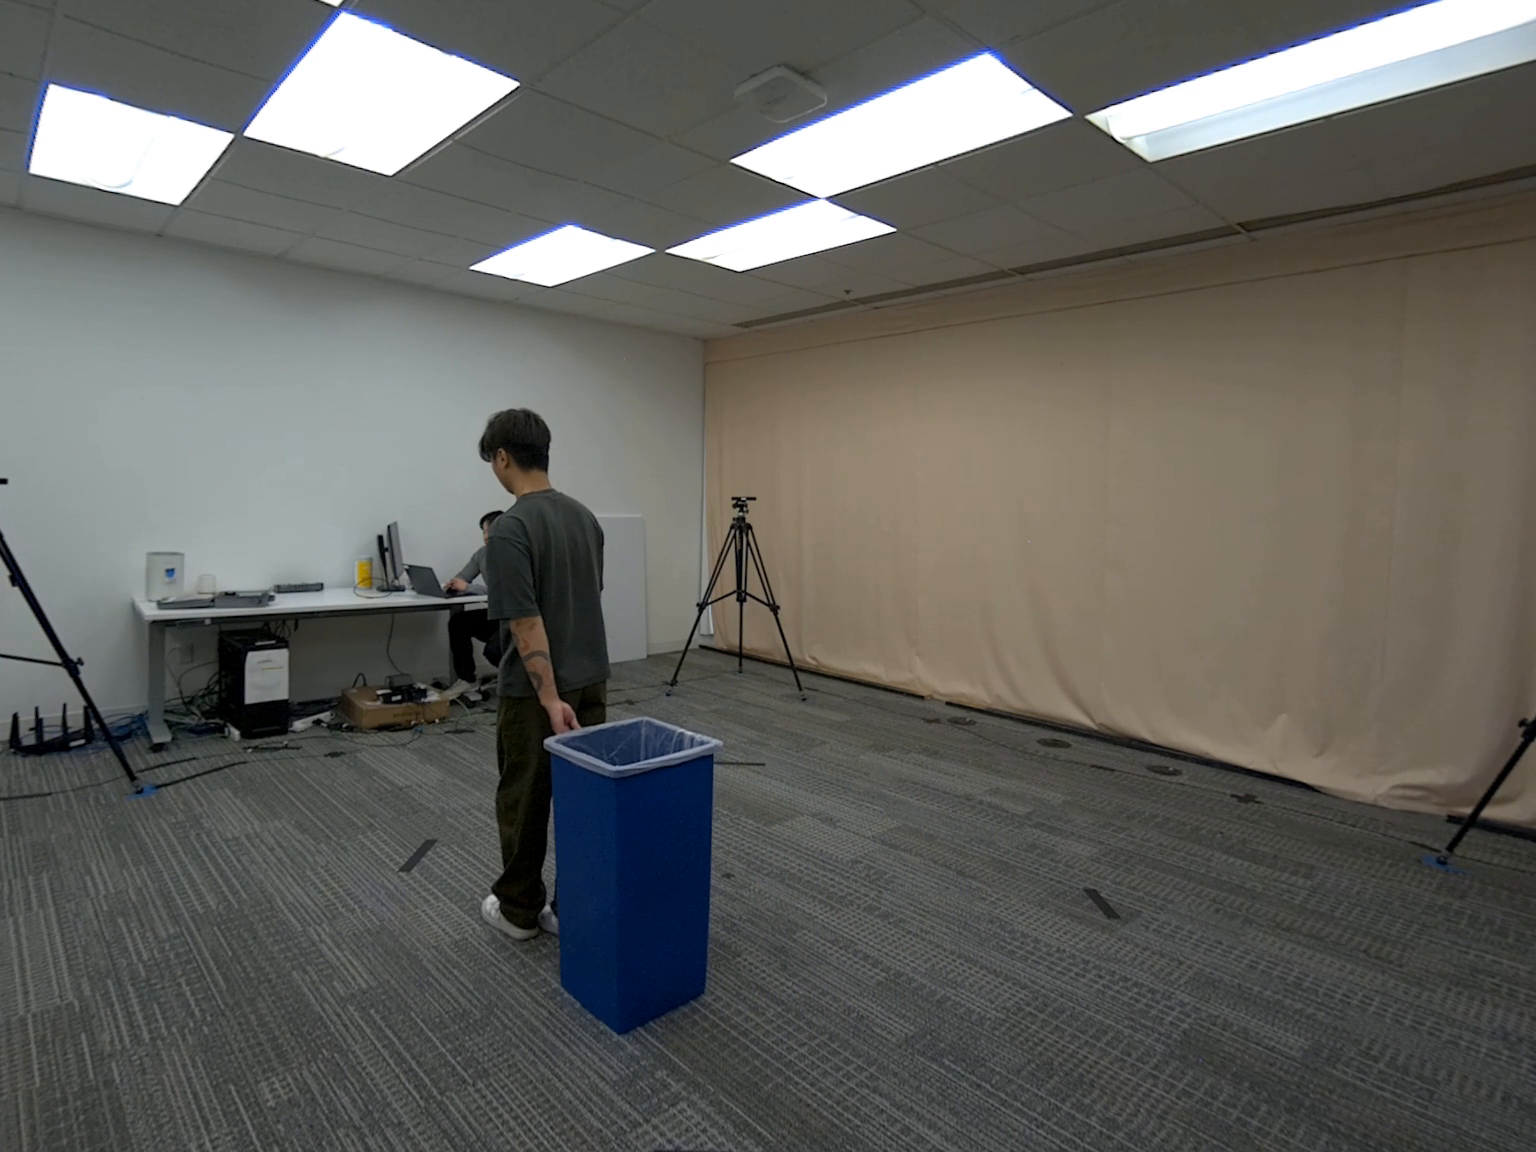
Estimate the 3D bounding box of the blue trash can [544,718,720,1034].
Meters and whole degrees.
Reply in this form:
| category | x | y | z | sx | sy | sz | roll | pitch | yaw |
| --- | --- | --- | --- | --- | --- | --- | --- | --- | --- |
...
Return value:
| category | x | y | z | sx | sy | sz | roll | pitch | yaw |
| --- | --- | --- | --- | --- | --- | --- | --- | --- | --- |
| blue trash can | -0.386 | 0.813 | 2.344 | 0.365 | 0.712 | 0.387 | -2 | 4 | -45 |
